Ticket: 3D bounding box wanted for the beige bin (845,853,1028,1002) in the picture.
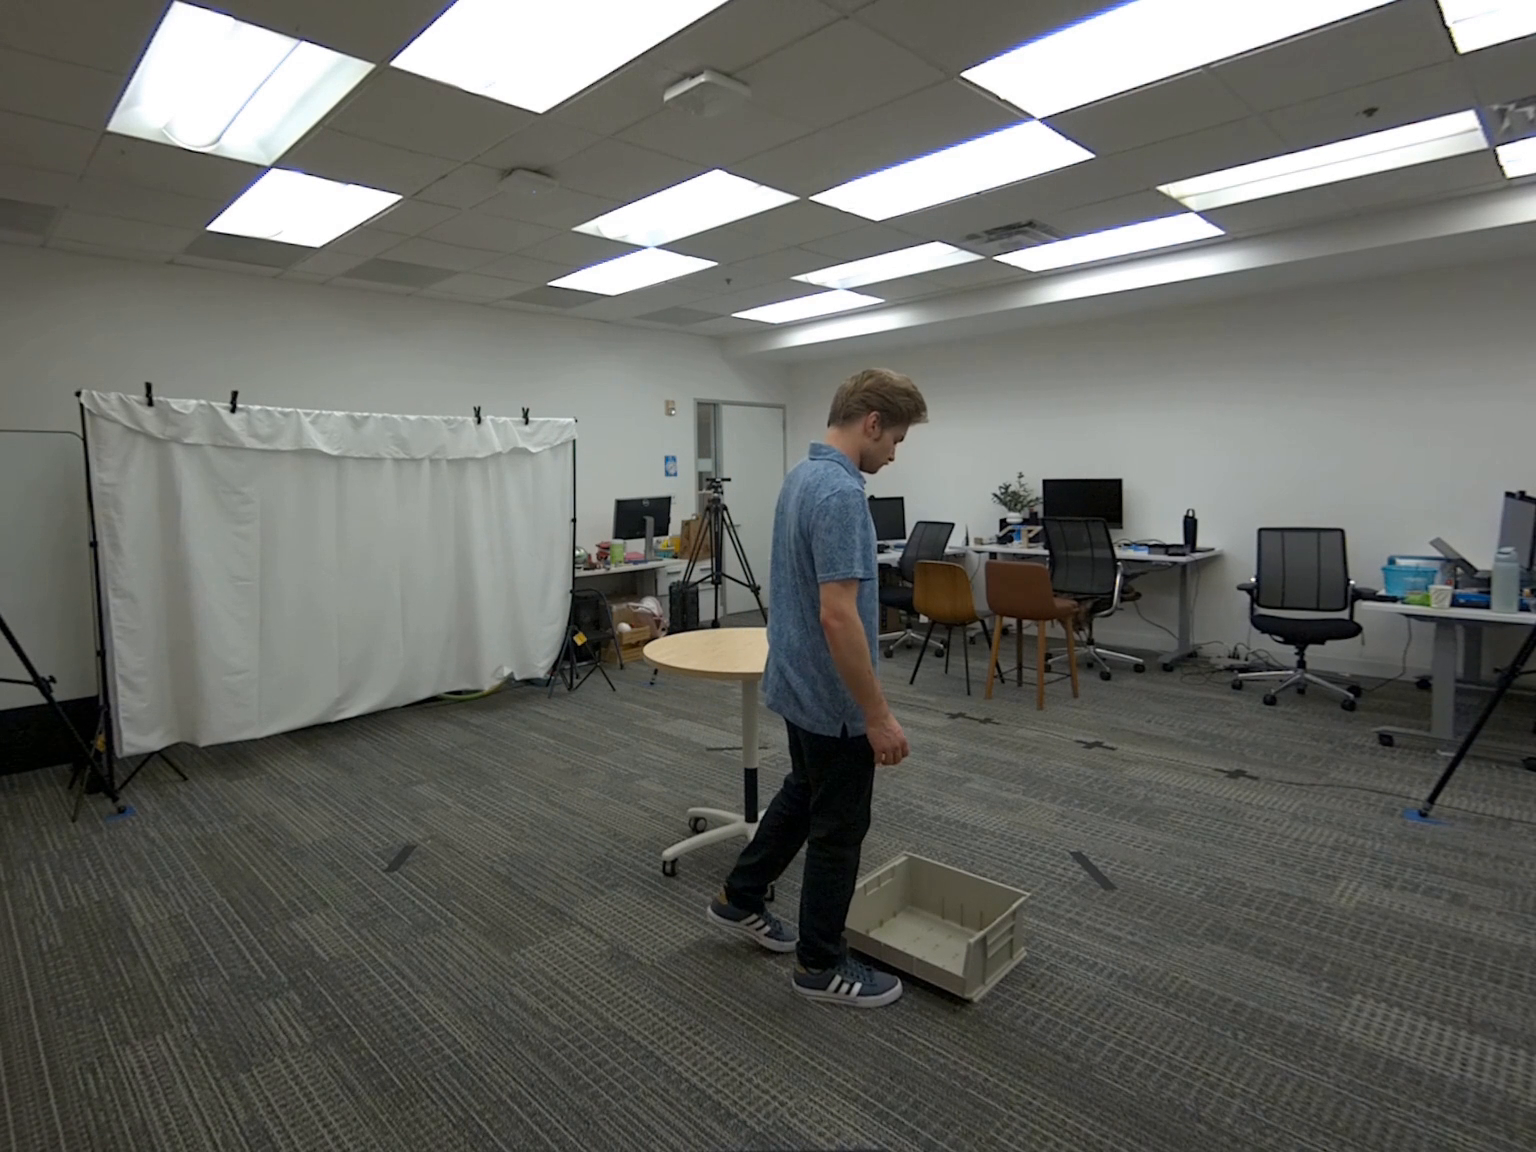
[{"bbox_3d":[0.486,1.017,2.493,0.435,0.188,0.367,3,7,43],"label":"beige bin"}]
